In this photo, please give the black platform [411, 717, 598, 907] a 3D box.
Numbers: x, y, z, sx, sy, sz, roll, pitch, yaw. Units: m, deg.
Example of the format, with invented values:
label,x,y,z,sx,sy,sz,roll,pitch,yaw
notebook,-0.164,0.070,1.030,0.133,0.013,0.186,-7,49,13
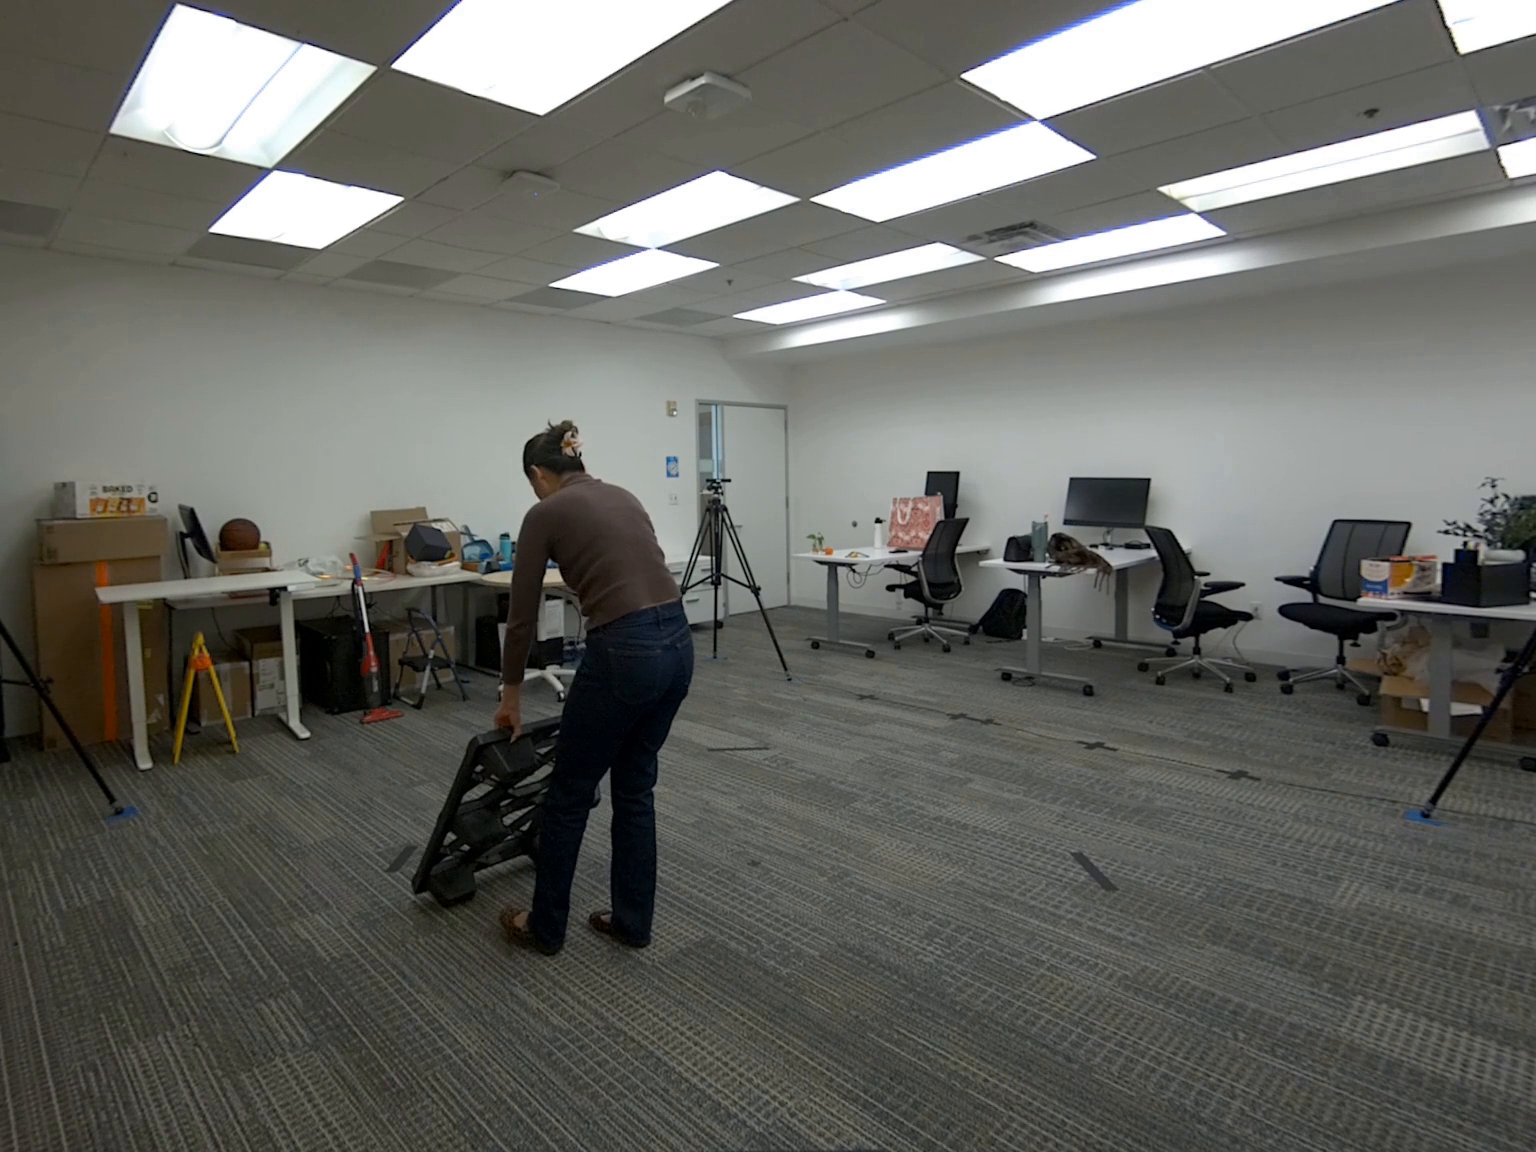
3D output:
label,x,y,z,sx,sy,sz,roll,pitch,yaw
black platform,-0.788,0.761,2.827,0.590,0.799,0.148,-9,48,-46
